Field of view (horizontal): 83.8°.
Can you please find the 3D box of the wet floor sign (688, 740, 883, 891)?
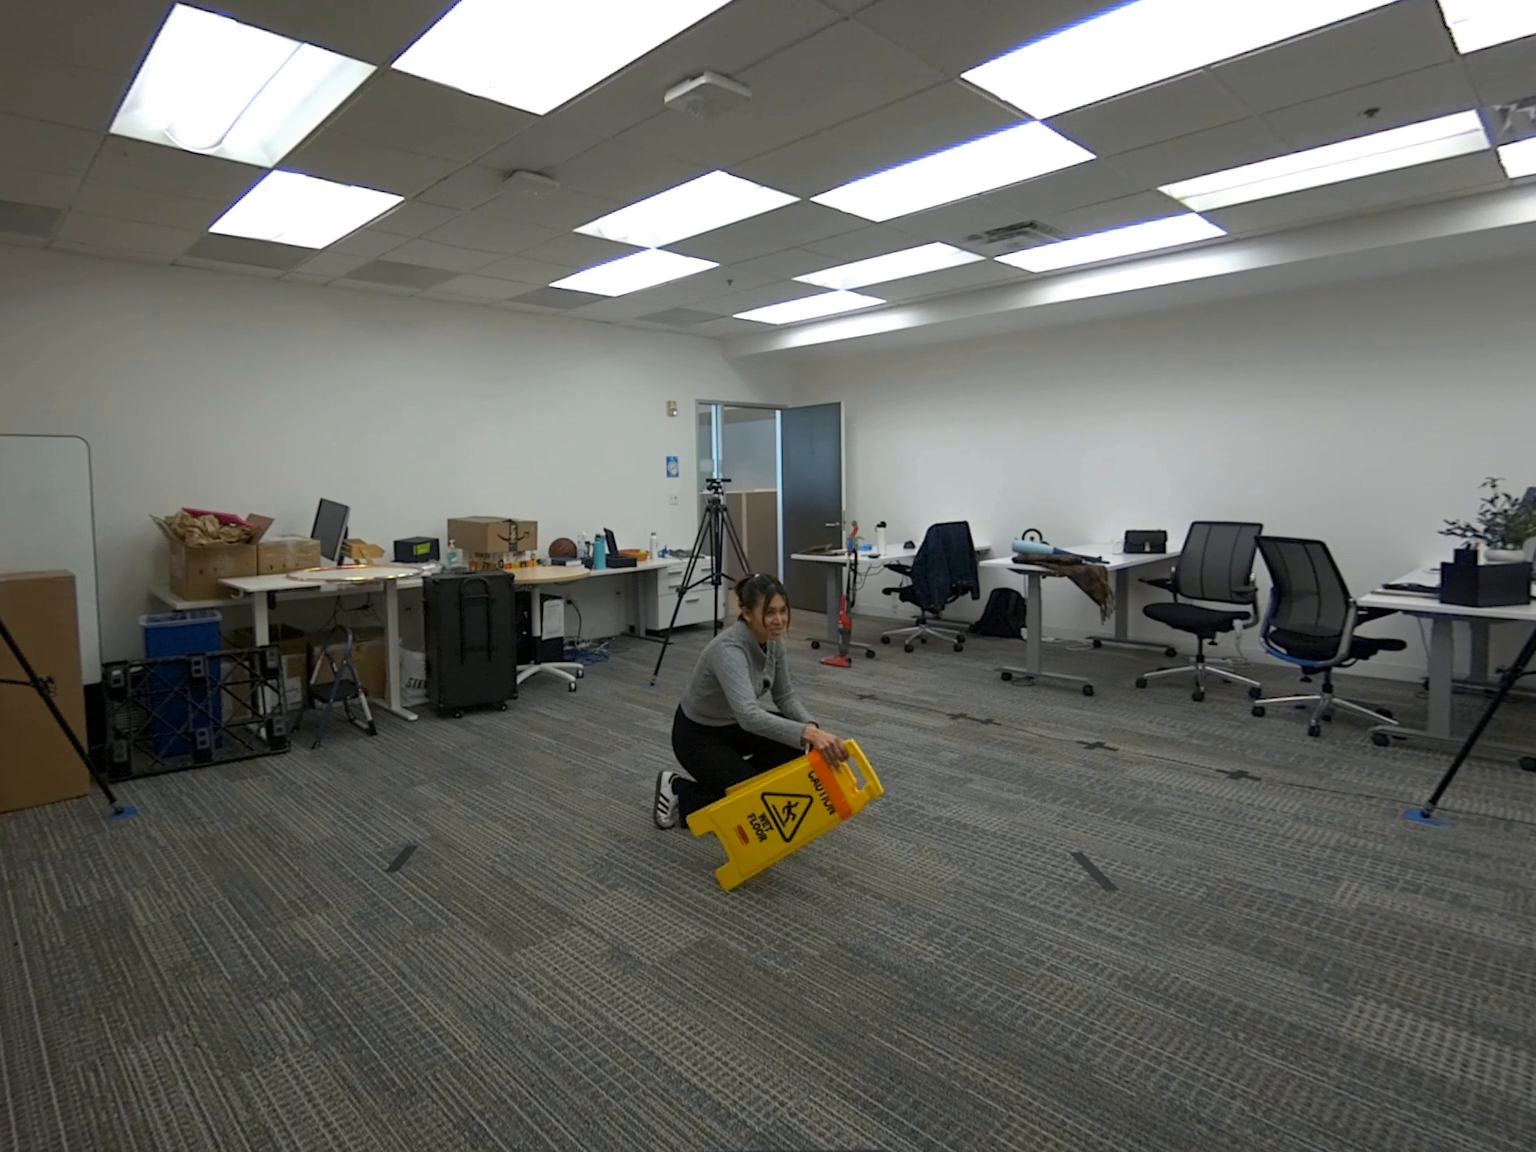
[{"bbox_3d":[0.083,0.785,2.917,0.650,0.286,0.284,-35,-11,27],"label":"wet floor sign"}]
